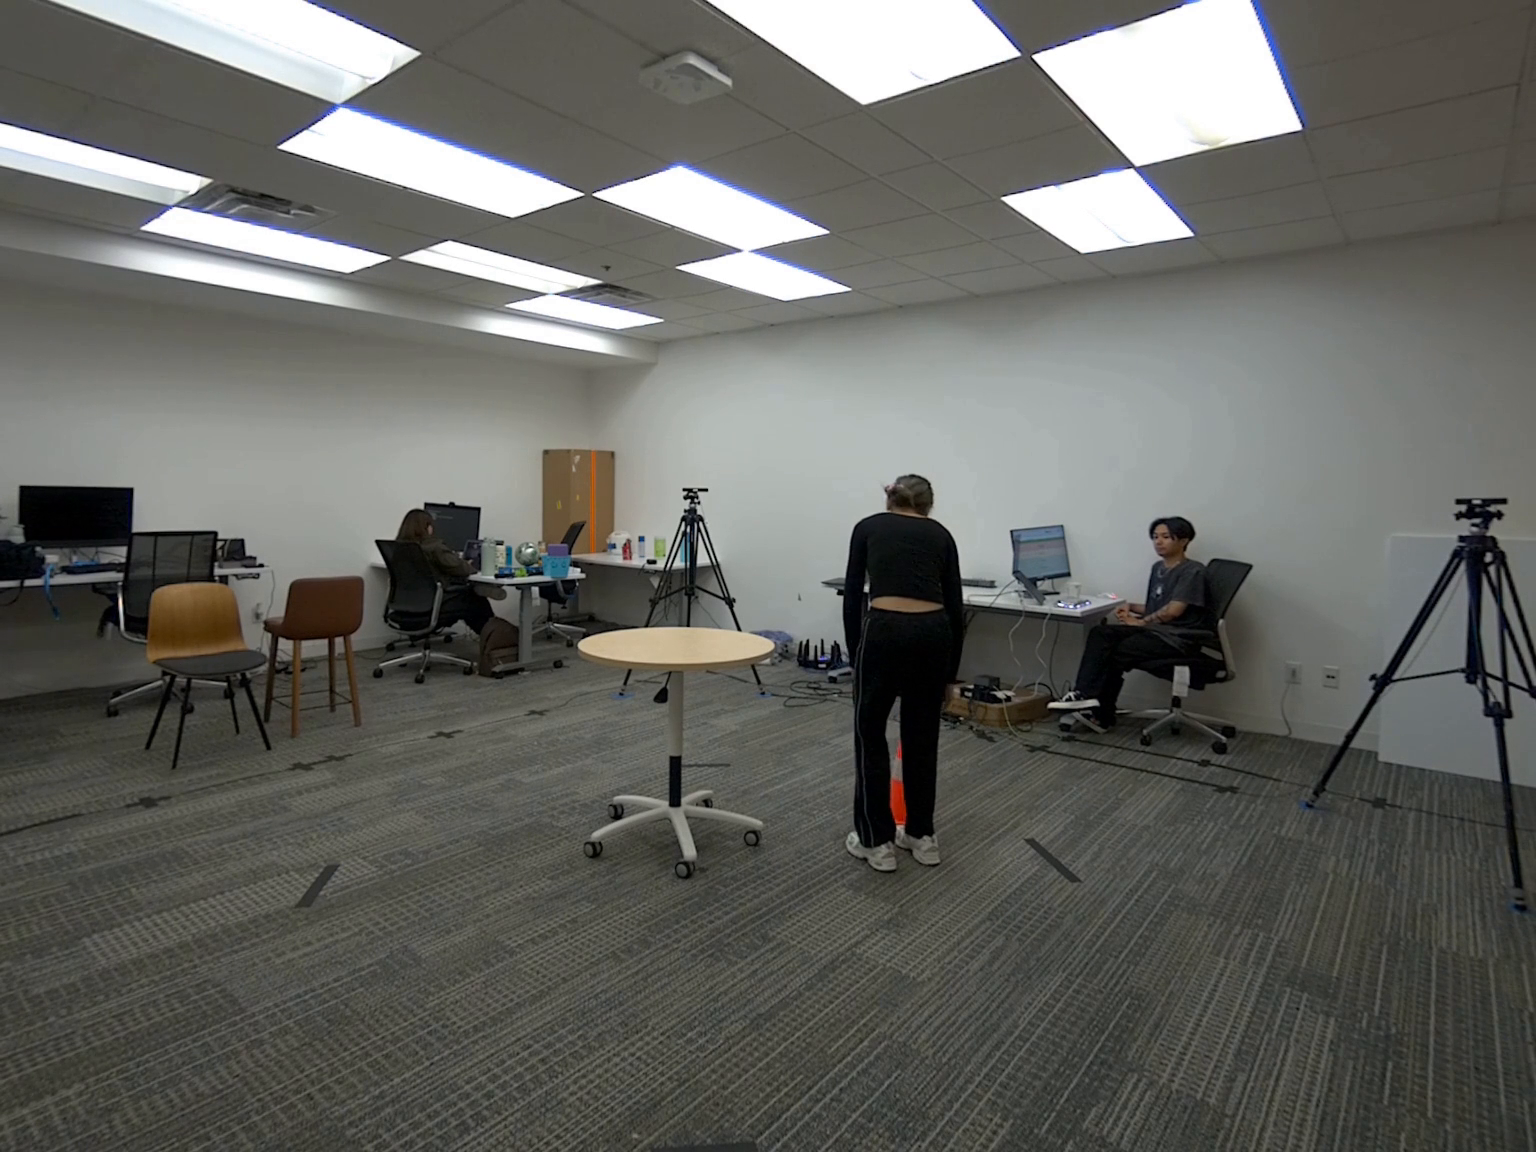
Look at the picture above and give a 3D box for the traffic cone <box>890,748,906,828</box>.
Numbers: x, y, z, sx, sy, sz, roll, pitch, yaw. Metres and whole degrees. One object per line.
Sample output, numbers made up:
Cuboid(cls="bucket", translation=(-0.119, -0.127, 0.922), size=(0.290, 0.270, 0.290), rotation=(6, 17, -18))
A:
Cuboid(cls="traffic cone", translation=(0.573, 0.836, 3.653), size=(0.208, 0.382, 0.201), rotation=(1, 4, 11))
